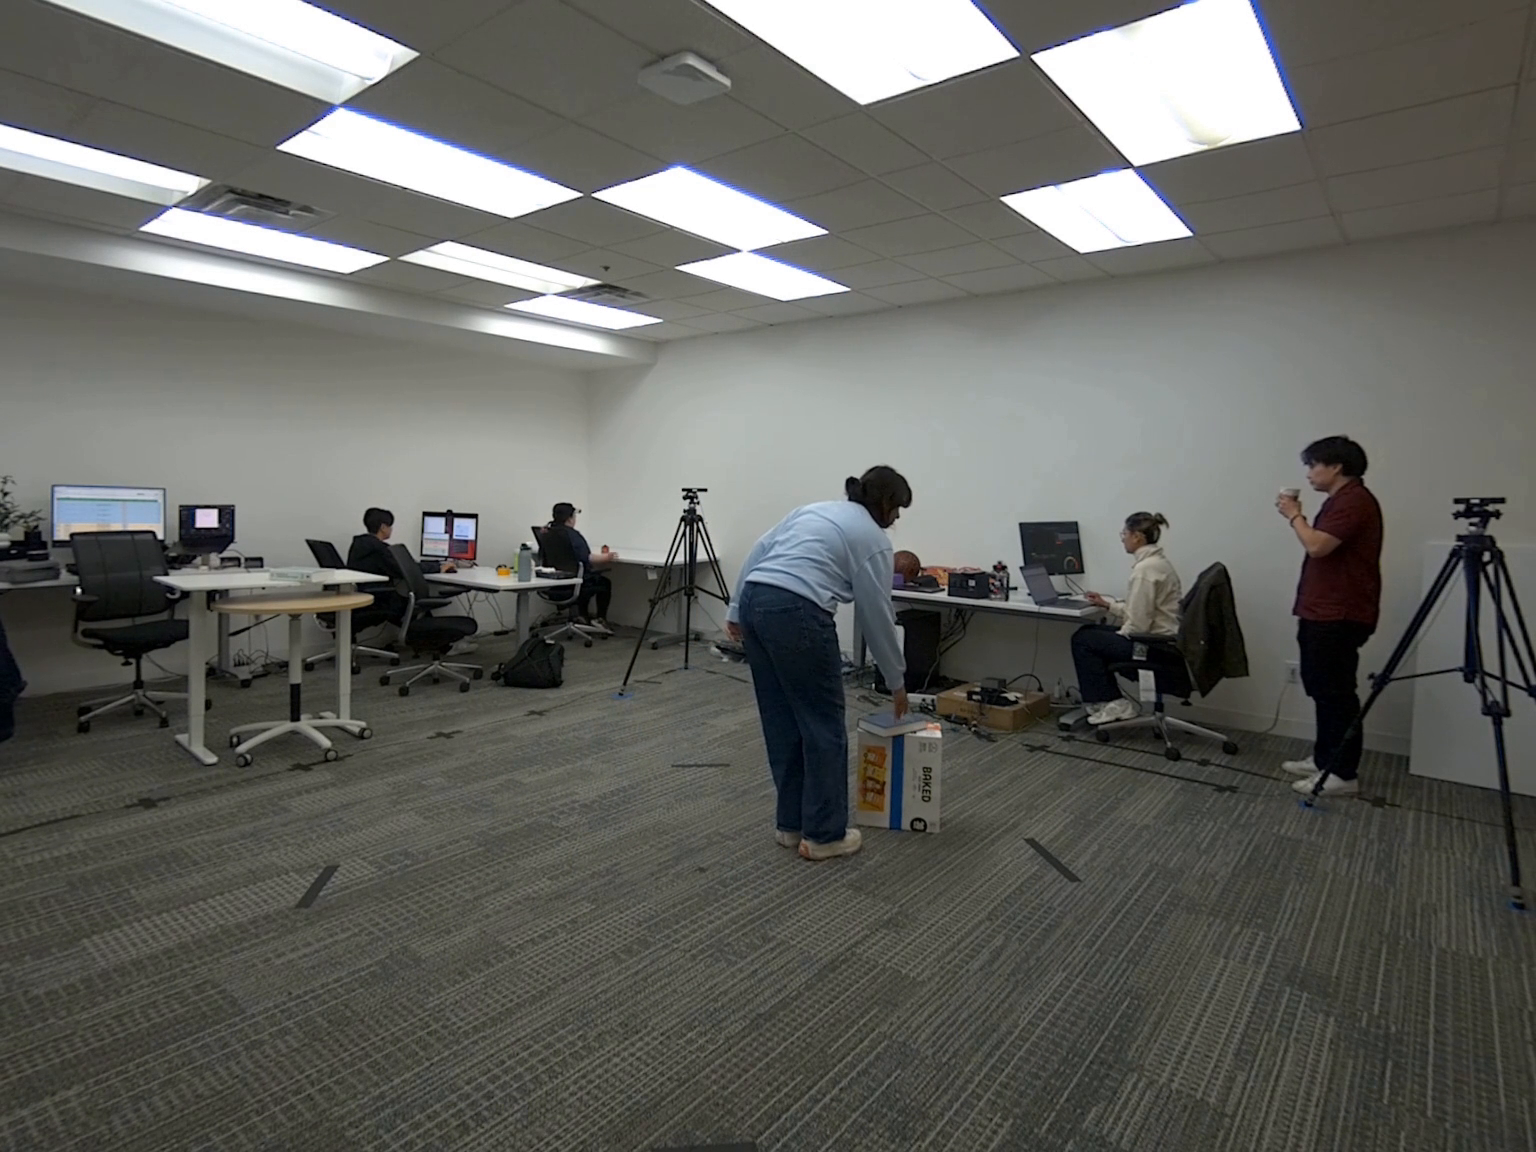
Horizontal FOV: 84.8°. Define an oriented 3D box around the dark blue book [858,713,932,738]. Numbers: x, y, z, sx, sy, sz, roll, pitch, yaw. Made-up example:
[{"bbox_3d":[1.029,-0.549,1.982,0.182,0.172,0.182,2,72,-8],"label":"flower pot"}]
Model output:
[{"bbox_3d":[0.520,0.615,3.569,0.238,0.045,0.169,-3,8,-34],"label":"dark blue book"}]
